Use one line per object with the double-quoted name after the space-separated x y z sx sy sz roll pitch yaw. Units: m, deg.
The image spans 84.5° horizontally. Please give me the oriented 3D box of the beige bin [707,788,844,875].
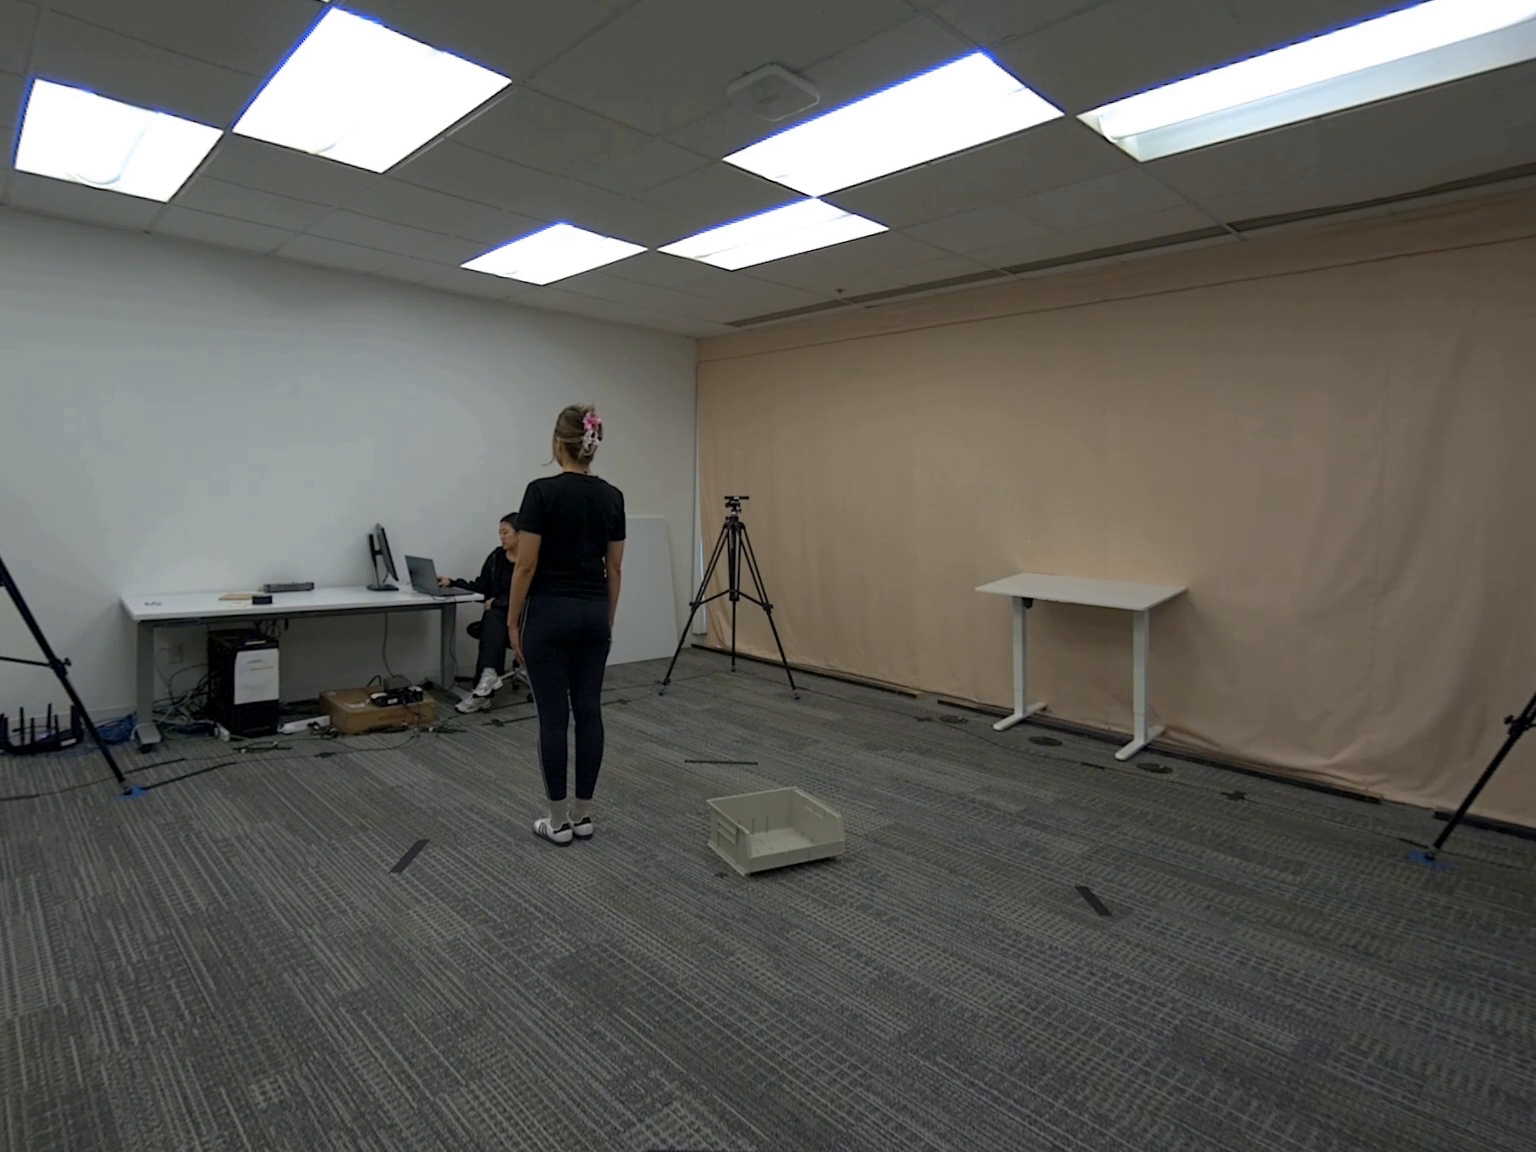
0.015 1.000 3.303 0.414 0.188 0.385 -2 5 -28 "beige bin"
